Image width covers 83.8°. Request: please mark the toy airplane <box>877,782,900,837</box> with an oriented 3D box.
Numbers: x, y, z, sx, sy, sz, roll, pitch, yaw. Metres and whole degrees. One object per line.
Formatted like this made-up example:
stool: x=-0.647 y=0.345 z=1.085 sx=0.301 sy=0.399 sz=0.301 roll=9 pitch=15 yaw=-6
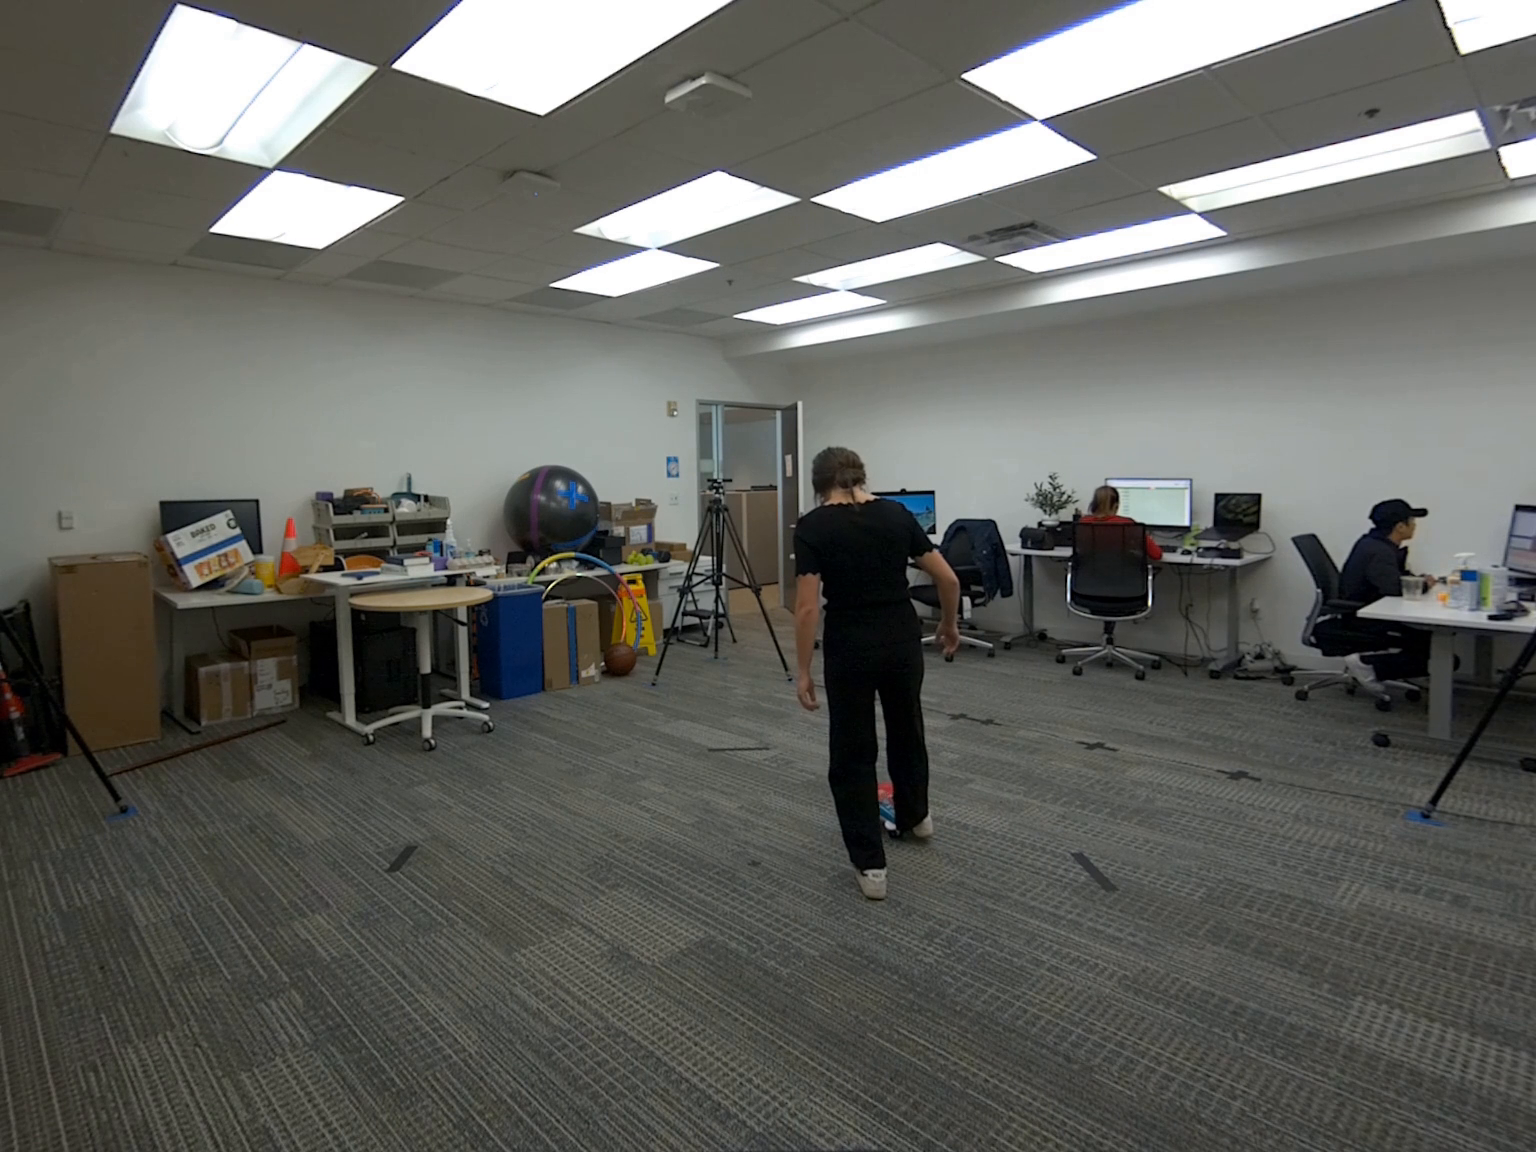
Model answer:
toy airplane: x=0.464 y=0.933 z=3.399 sx=0.266 sy=0.156 sz=0.245 roll=0 pitch=5 yaw=30
